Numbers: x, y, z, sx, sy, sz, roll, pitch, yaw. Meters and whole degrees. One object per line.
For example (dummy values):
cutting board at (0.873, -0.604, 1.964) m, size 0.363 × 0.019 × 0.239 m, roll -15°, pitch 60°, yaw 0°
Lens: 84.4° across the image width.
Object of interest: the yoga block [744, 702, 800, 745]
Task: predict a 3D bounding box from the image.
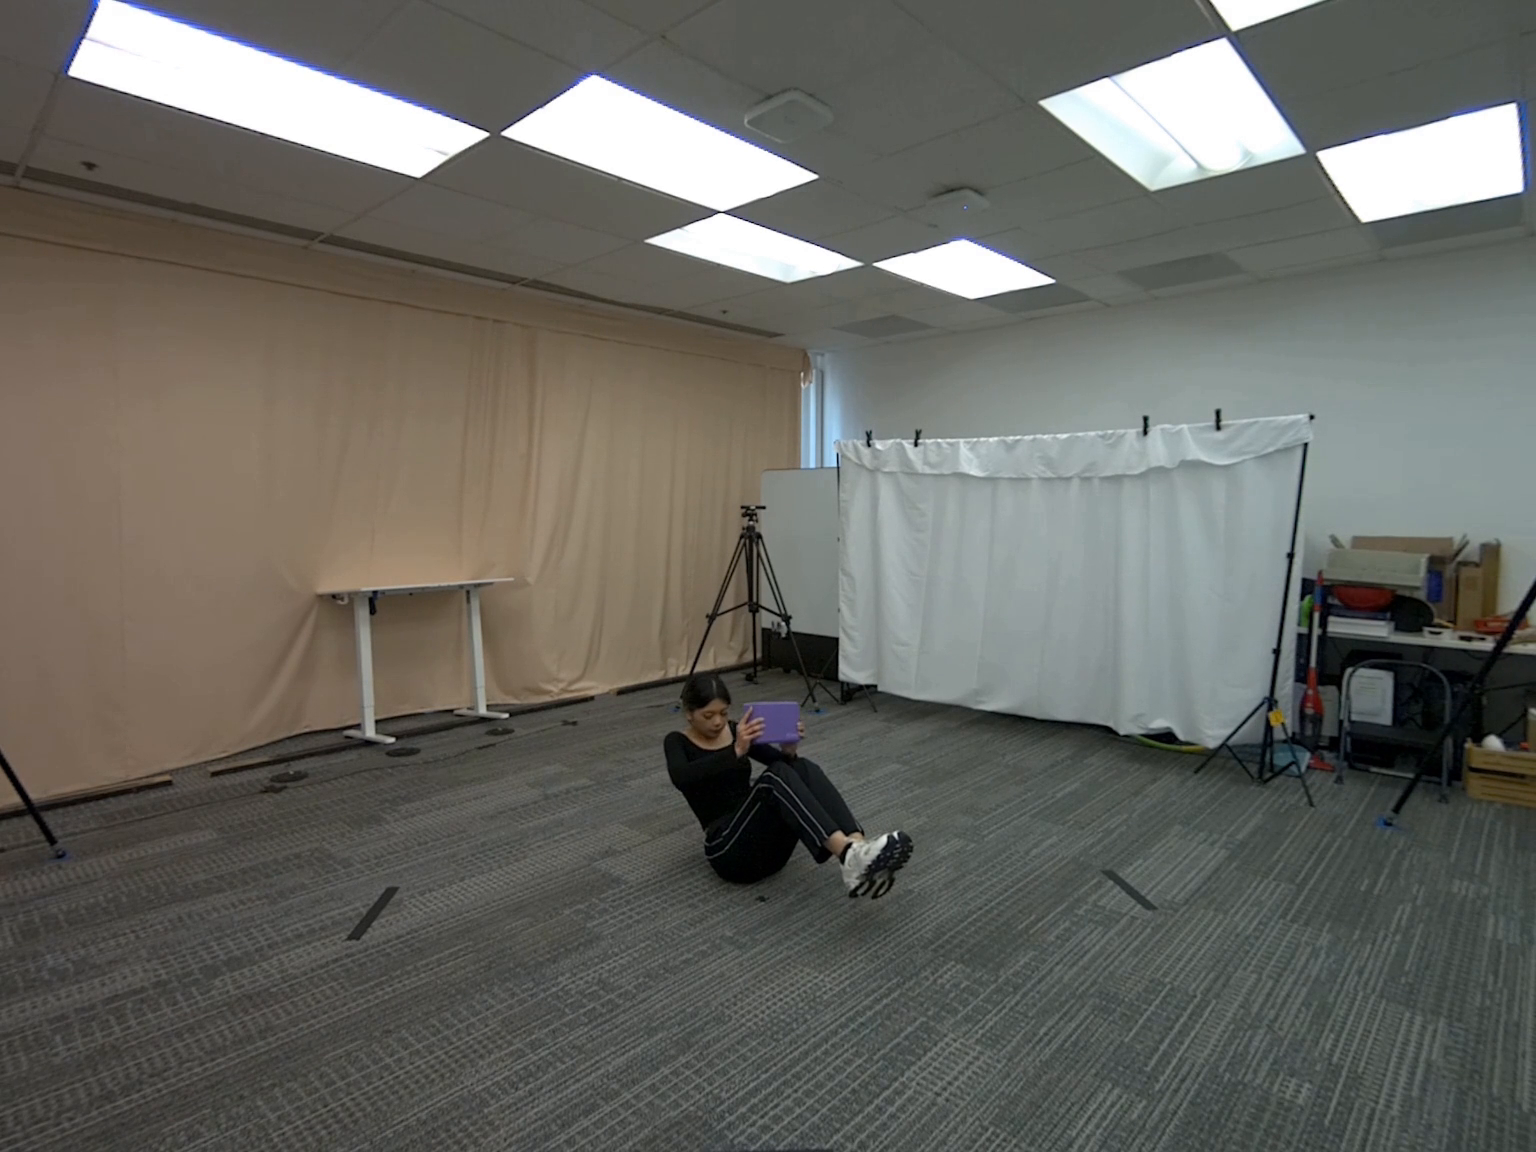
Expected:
yoga block at (0.017, 0.547, 3.122) m, size 0.222 × 0.150 × 0.078 m, roll 5°, pitch -11°, yaw -36°
